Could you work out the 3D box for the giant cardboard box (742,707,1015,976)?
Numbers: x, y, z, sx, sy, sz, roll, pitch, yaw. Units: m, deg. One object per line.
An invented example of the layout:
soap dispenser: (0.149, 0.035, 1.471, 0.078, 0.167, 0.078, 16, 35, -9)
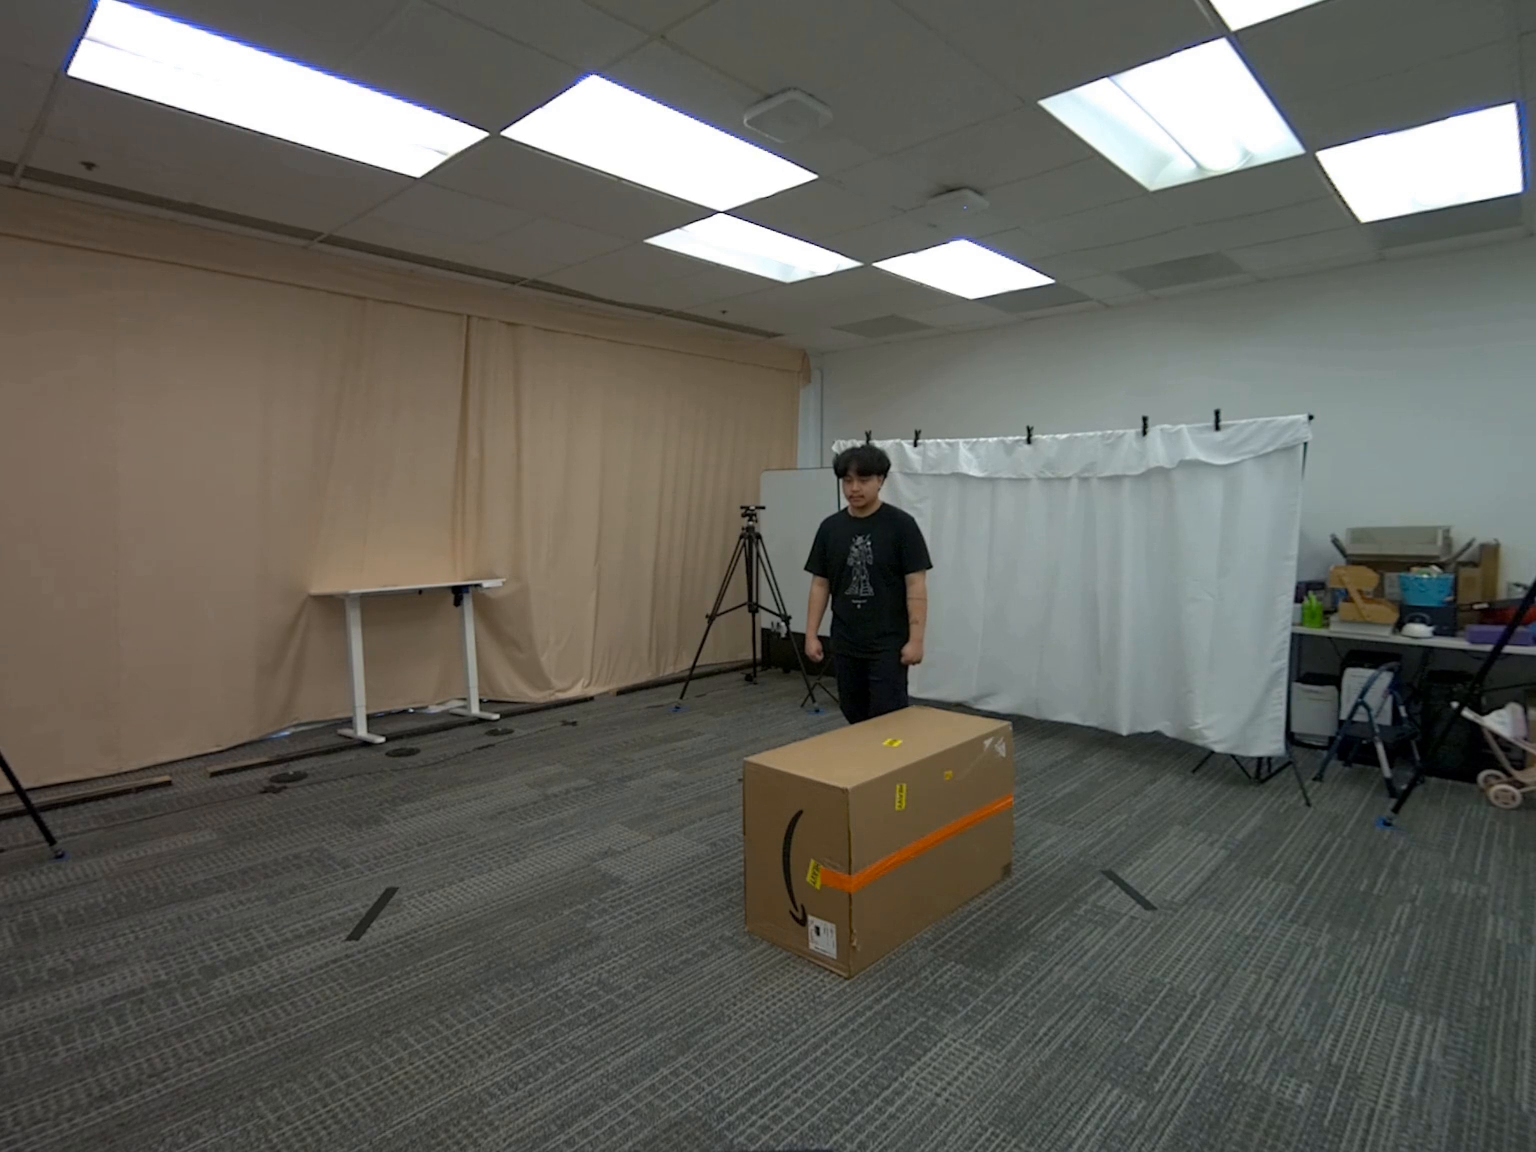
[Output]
giant cardboard box: (0.423, 0.860, 2.953, 0.462, 0.582, 0.996, 5, 7, 44)
